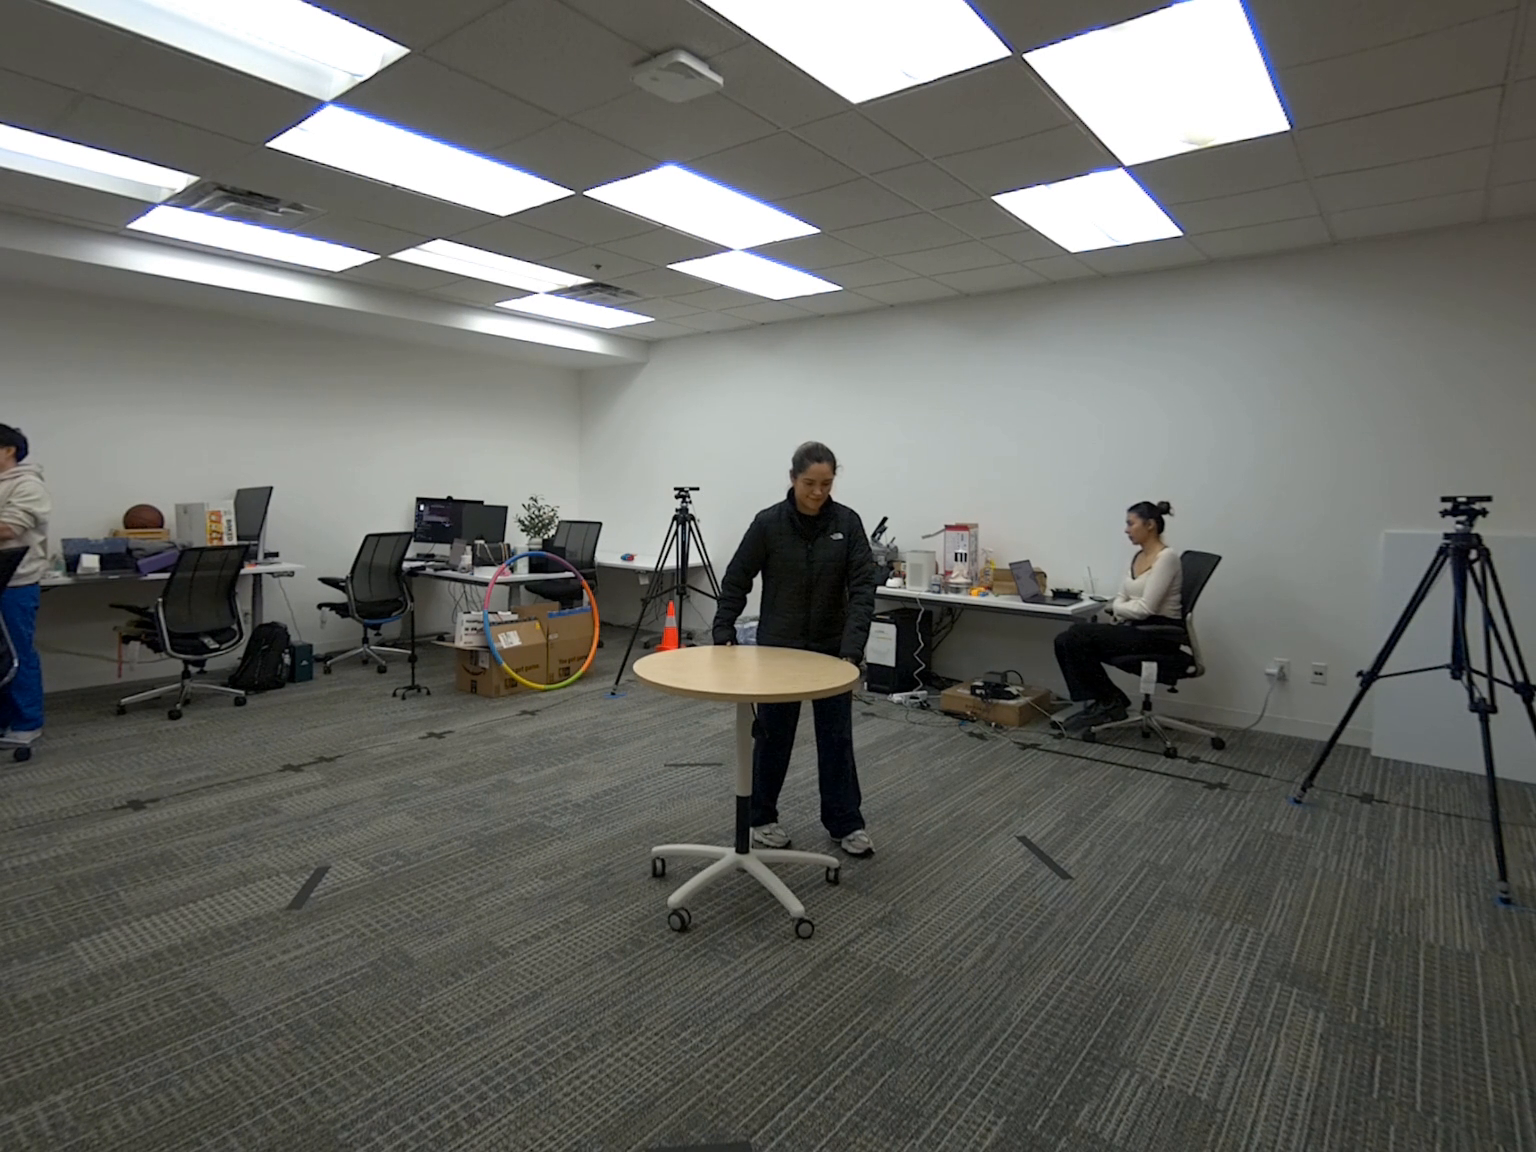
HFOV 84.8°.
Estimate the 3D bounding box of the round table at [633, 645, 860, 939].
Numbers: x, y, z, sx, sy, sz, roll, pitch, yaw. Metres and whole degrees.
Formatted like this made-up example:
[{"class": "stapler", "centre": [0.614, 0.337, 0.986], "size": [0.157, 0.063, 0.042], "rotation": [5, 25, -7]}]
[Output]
[{"class": "round table", "centre": [-0.088, 0.694, 2.916], "size": [0.784, 0.784, 0.789], "rotation": [1, 4, -2]}]
